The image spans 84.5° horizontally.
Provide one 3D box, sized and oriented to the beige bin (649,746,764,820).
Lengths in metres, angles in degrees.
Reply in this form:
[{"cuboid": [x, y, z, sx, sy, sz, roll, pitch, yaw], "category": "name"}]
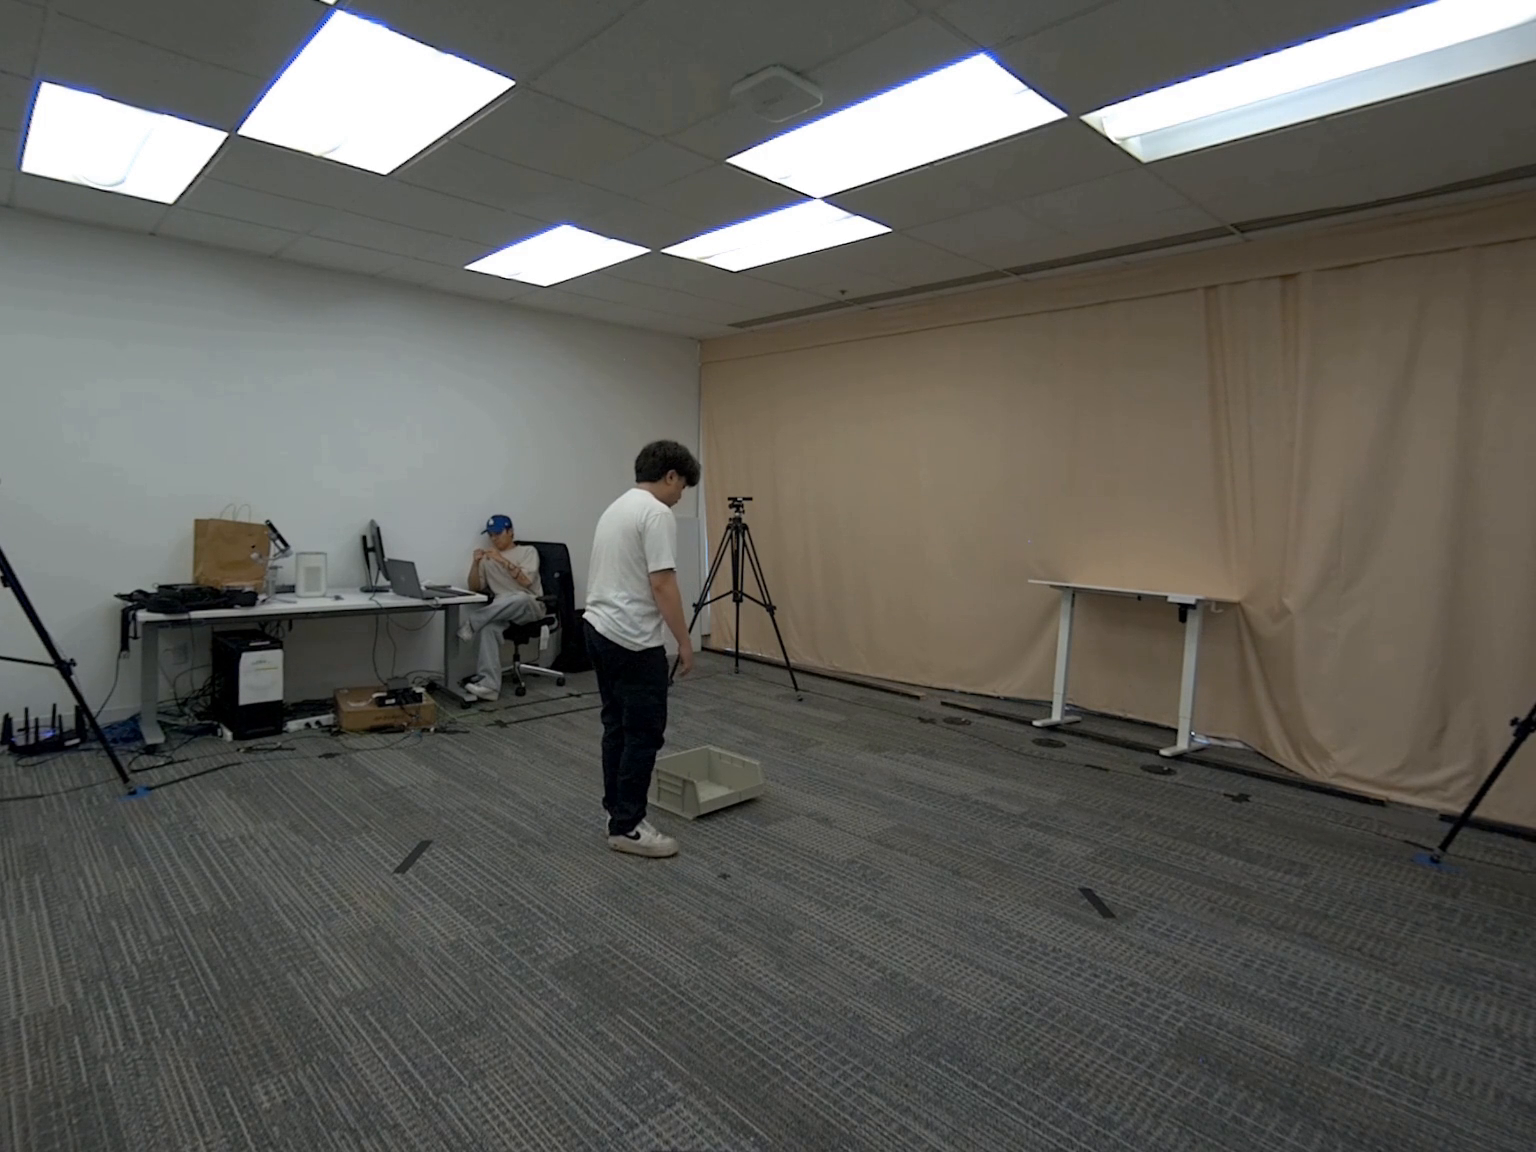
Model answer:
[{"cuboid": [-0.303, 0.951, 3.885, 0.387, 0.188, 0.413, 5, 7, 43], "category": "beige bin"}]
